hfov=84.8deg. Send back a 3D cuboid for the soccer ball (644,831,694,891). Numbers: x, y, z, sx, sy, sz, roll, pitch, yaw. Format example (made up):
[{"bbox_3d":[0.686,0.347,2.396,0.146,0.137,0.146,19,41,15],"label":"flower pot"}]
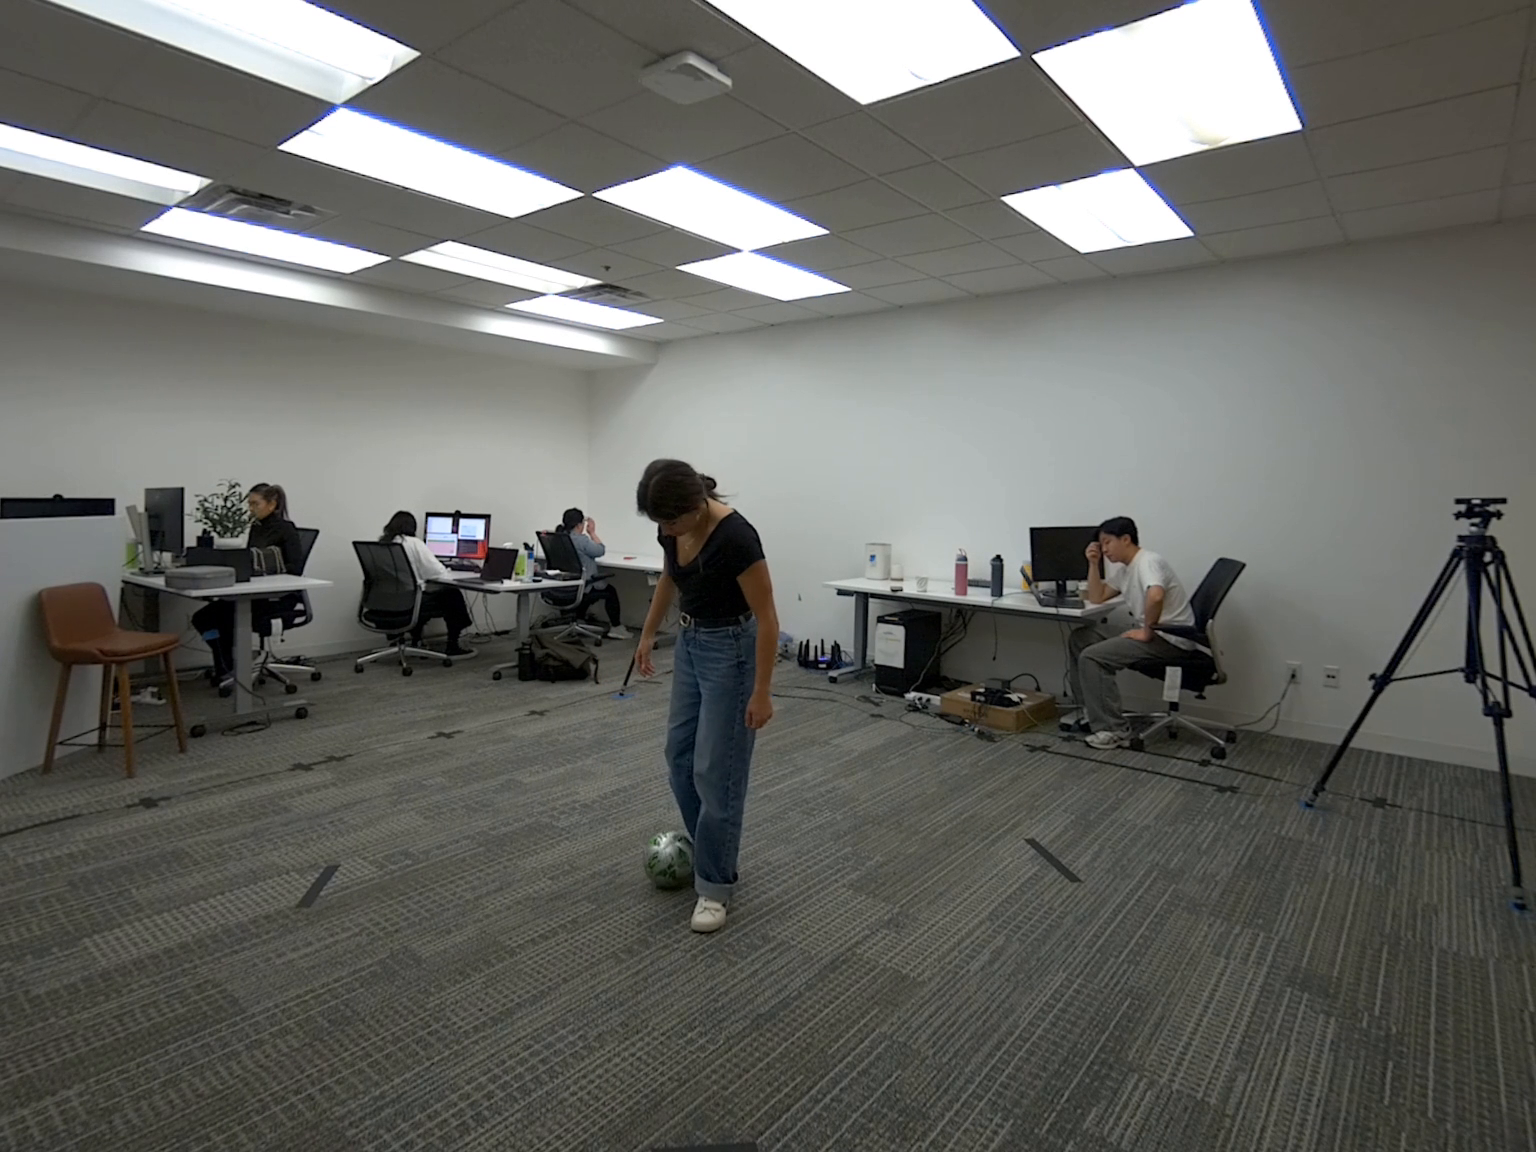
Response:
[{"bbox_3d":[-0.352,0.986,2.963,0.187,0.187,0.188,1,4,-2],"label":"soccer ball"}]
